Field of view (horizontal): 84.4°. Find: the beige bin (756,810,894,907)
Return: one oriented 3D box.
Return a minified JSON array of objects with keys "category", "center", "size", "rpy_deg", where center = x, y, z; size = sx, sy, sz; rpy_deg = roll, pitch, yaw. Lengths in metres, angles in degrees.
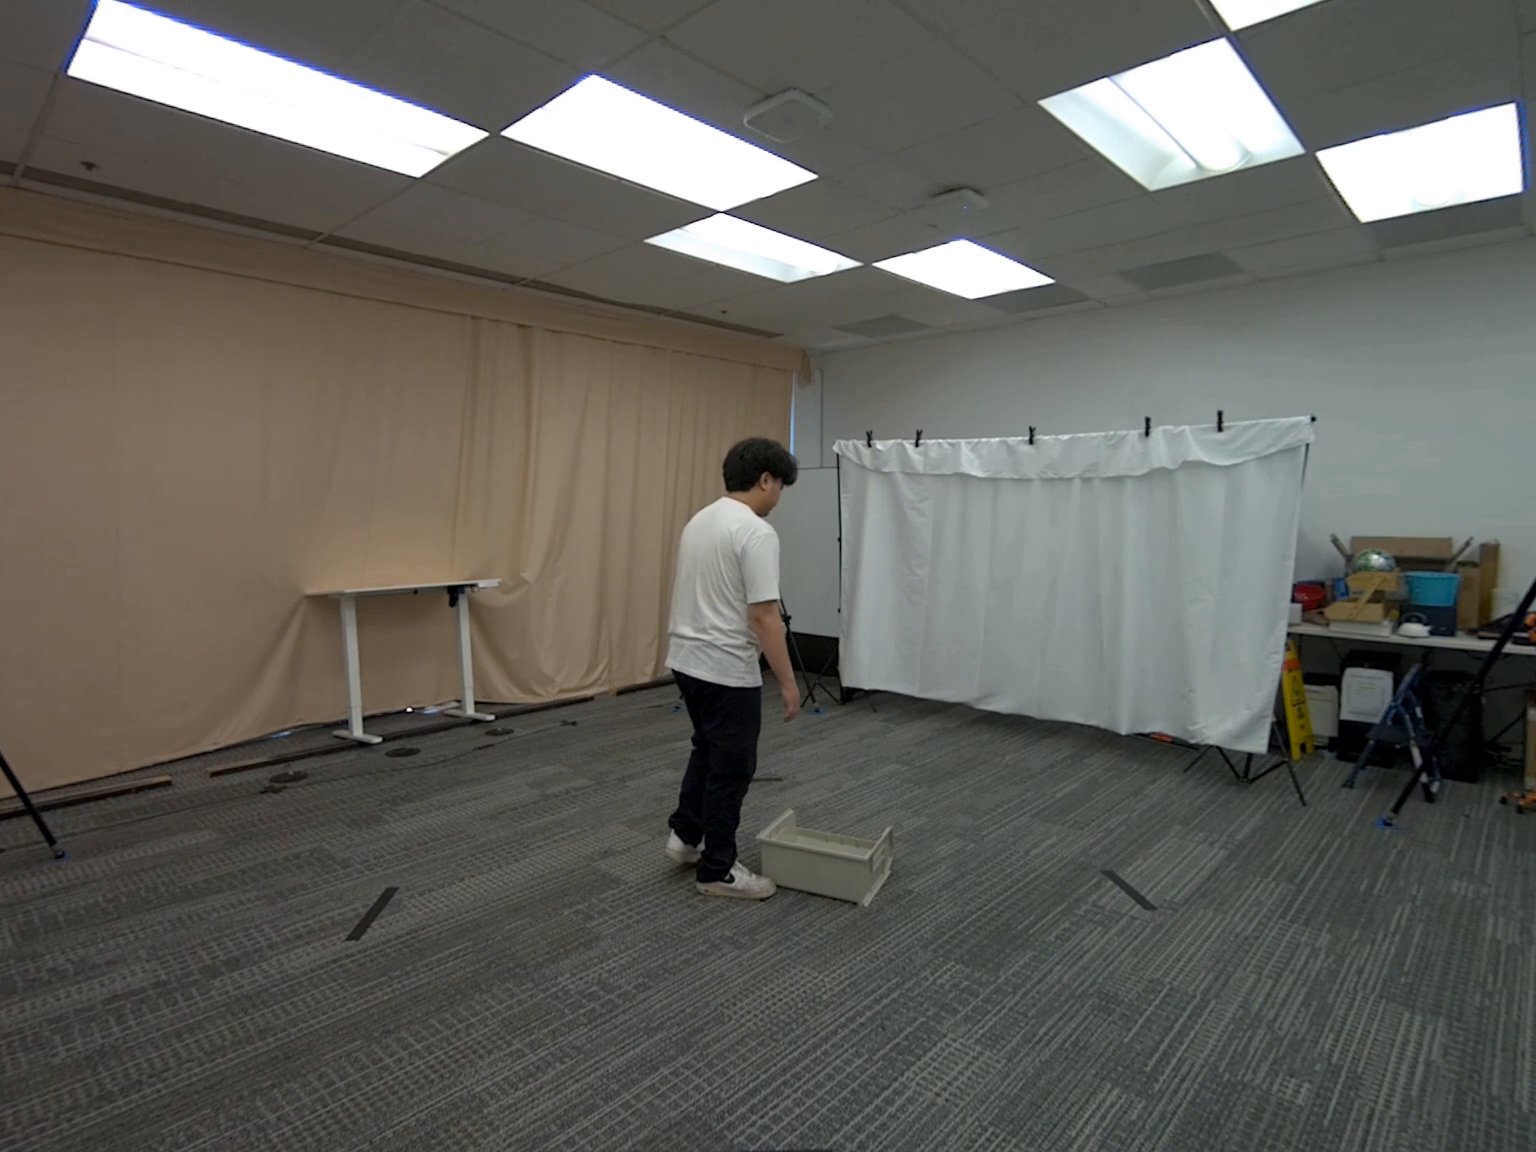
[{"category":"beige bin","center":[0.224,1.040,3.157],"size":[0.433,0.188,0.369],"rpy_deg":[2,6,25]}]
